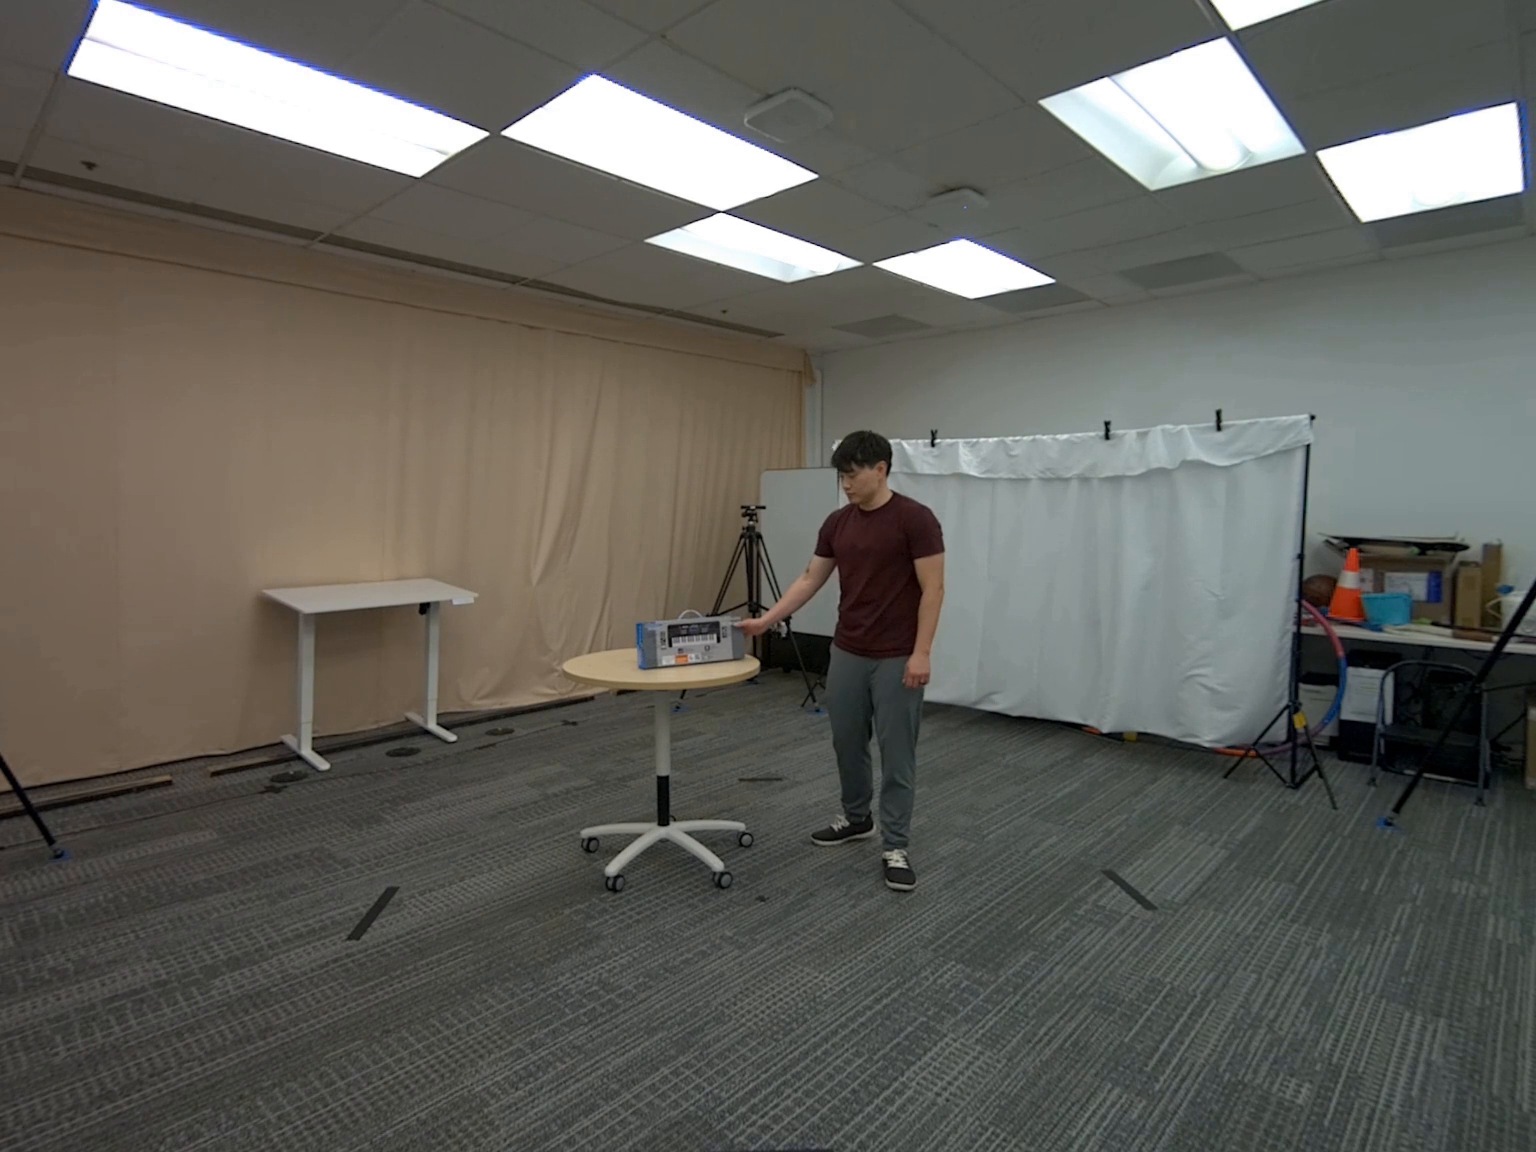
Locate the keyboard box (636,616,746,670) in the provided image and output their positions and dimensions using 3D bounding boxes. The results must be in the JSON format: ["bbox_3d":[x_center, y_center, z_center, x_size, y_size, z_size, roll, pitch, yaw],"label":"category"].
[{"bbox_3d":[-0.292,0.257,3.271,0.426,0.176,0.060,-3,-4,-28],"label":"keyboard box"}]
